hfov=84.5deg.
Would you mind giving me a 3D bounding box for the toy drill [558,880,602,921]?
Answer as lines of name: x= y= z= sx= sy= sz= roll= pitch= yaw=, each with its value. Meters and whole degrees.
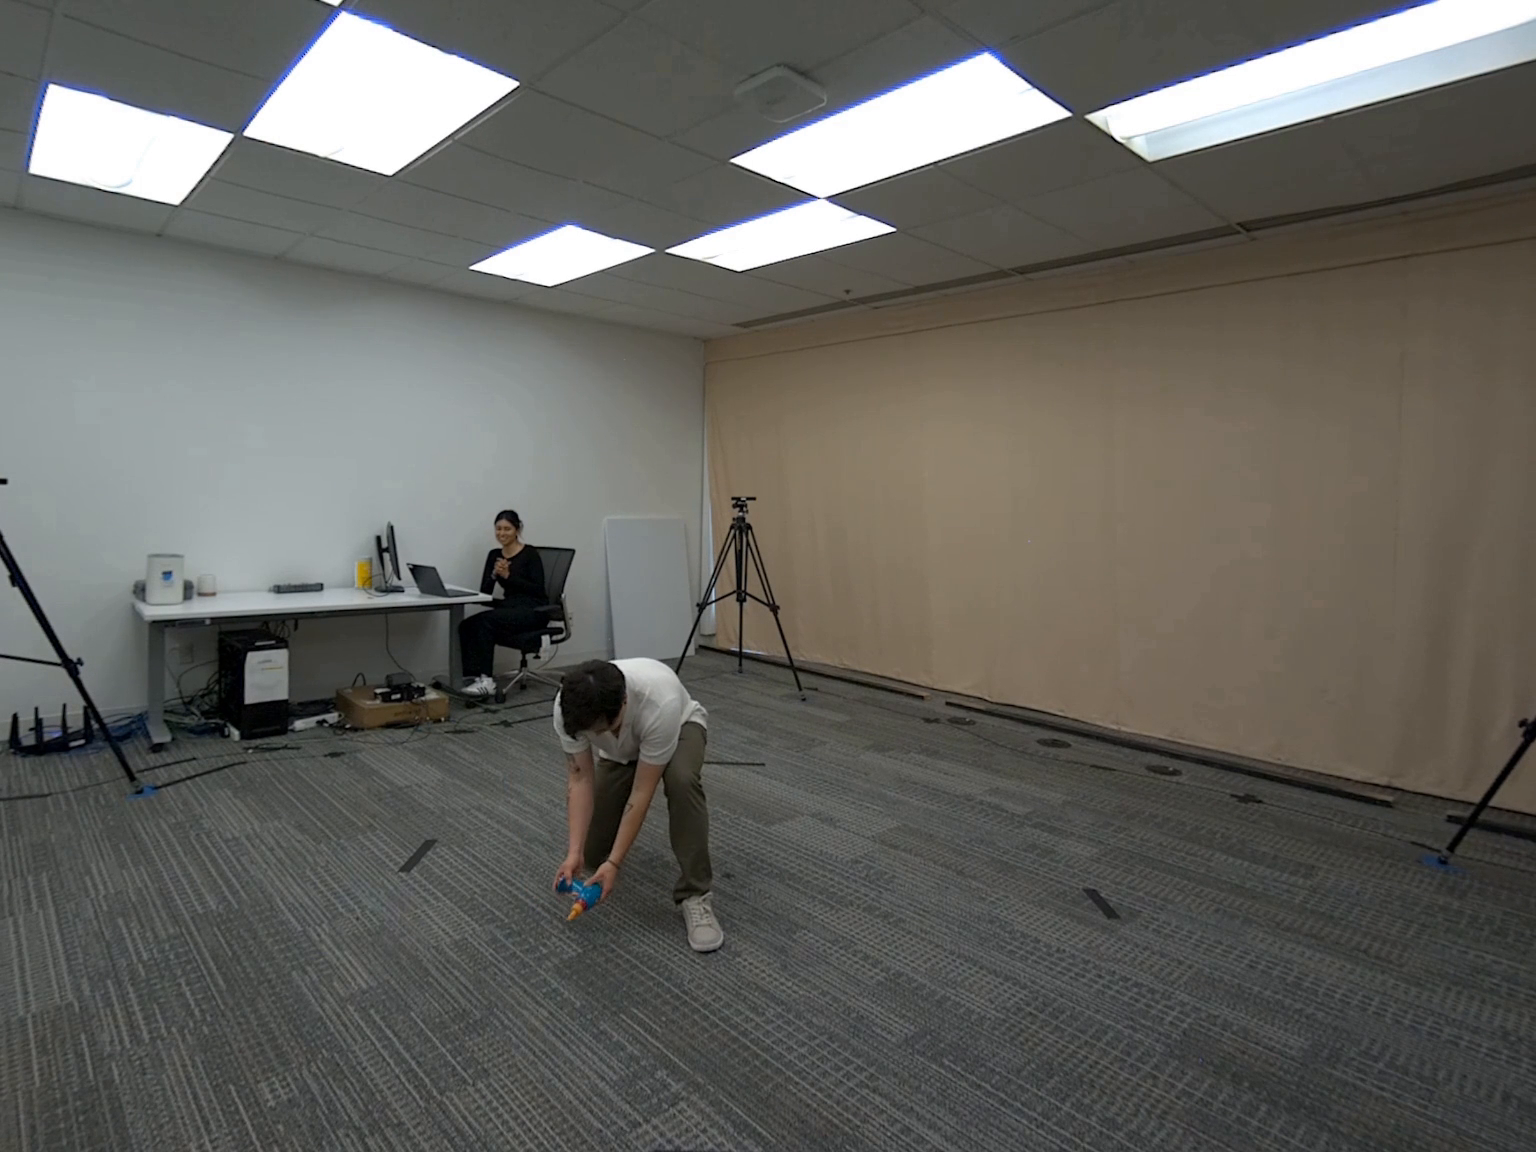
toy drill: x=-0.625 y=1.023 z=2.643 sx=0.149 sy=0.060 sz=0.169 roll=-1 pitch=22 yaw=34
